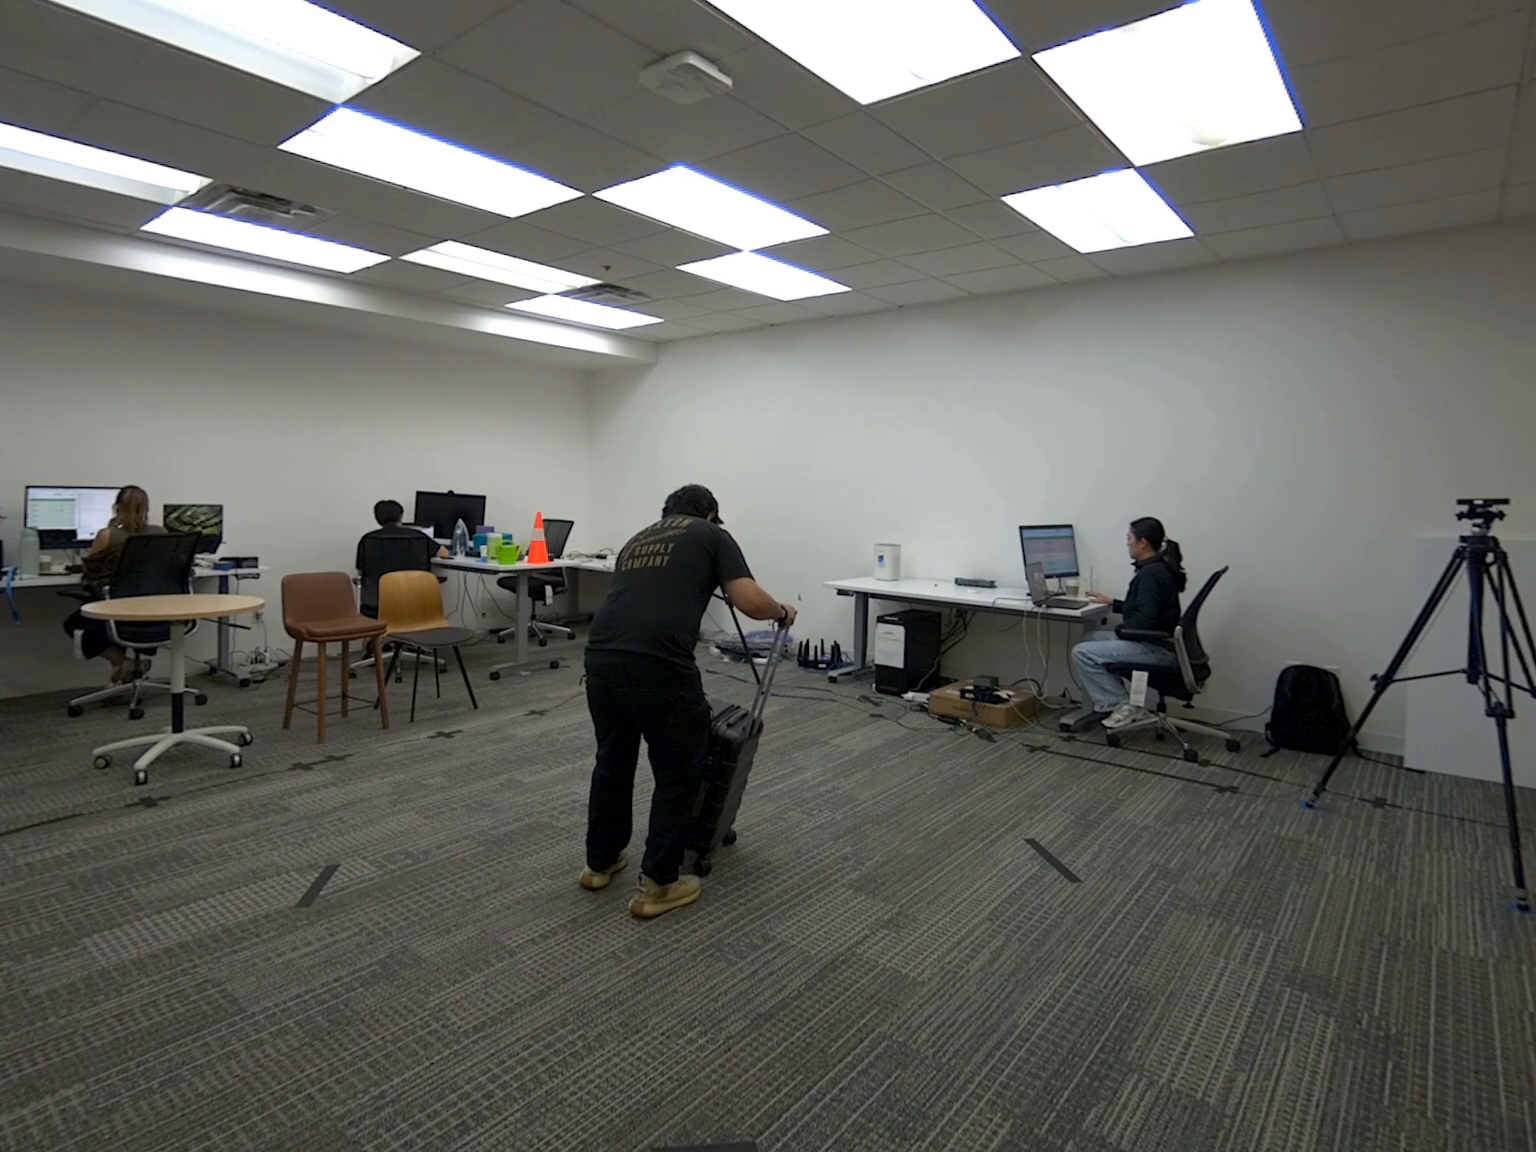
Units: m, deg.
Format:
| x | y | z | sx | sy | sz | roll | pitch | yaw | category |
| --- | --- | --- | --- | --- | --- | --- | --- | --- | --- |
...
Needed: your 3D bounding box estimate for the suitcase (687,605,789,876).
| x | y | z | sx | sy | sz | roll | pitch | yaw | category |
| --- | --- | --- | --- | --- | --- | --- | --- | --- | --- |
| -0.179 | 0.568 | 3.196 | 0.263 | 0.974 | 0.377 | 17 | 7 | 16 | suitcase |
